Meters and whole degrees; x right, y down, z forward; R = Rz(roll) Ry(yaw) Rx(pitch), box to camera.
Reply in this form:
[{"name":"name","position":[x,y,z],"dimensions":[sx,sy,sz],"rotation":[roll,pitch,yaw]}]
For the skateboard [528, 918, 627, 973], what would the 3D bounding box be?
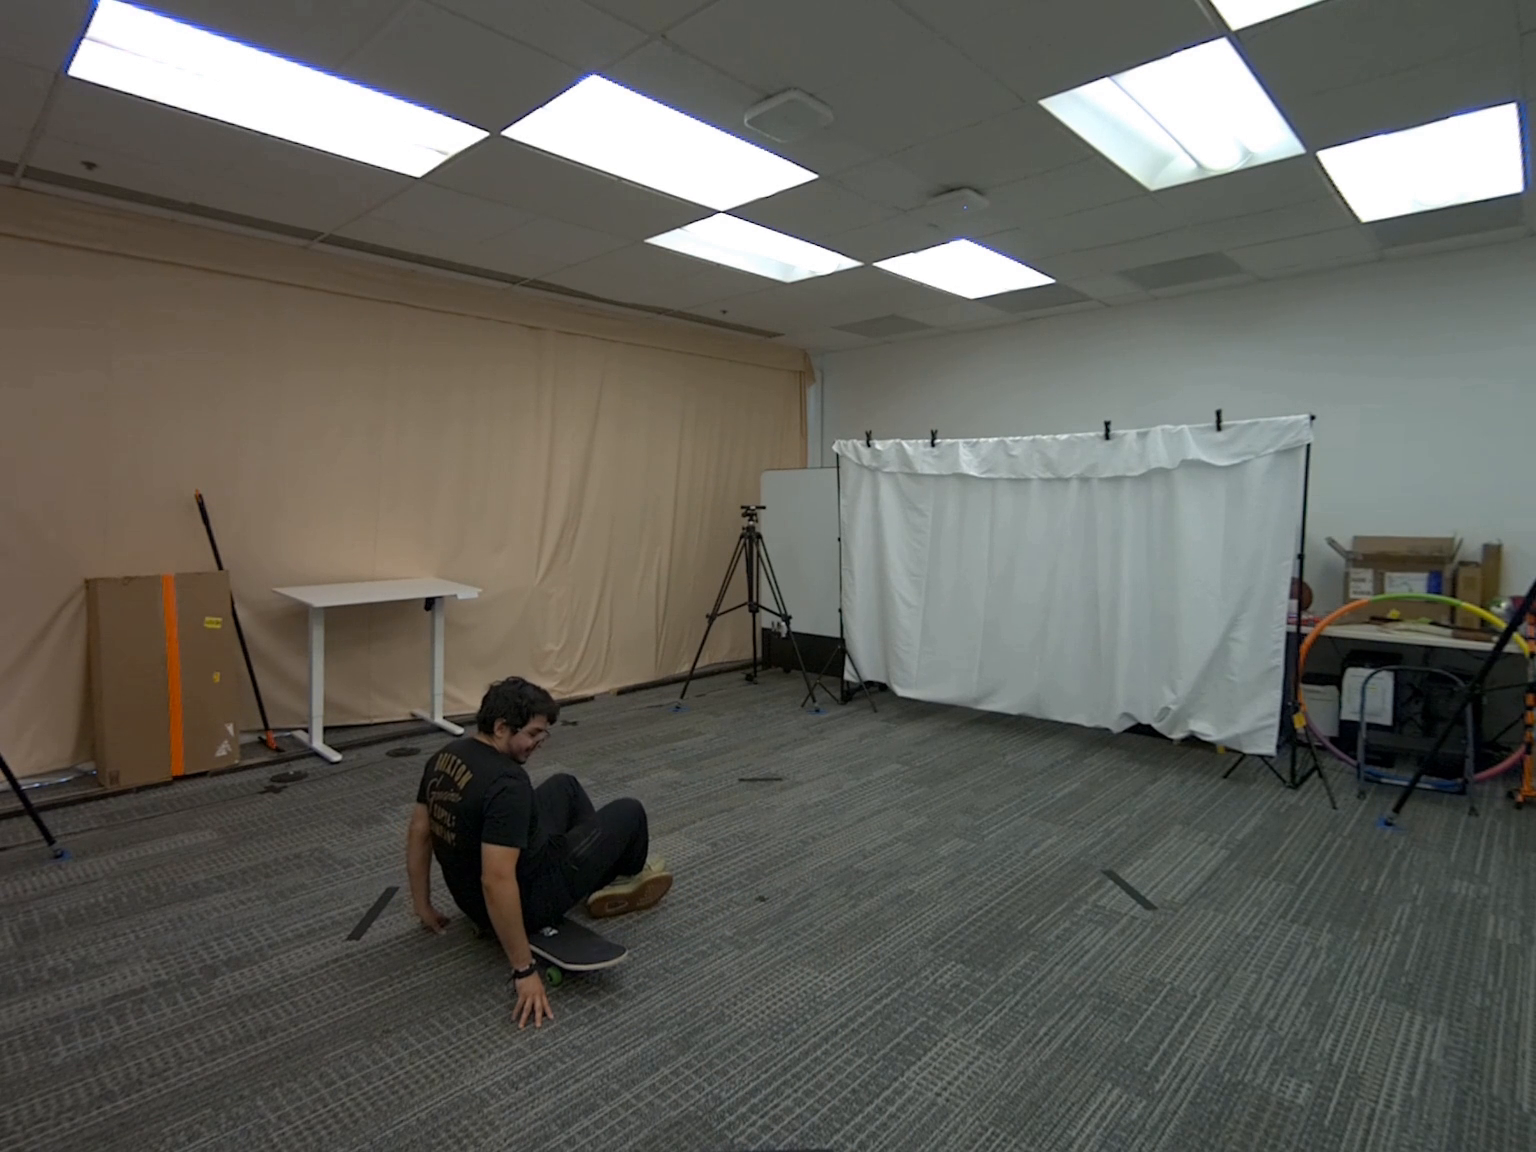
[{"name":"skateboard","position":[-0.730,1.120,2.654],"dimensions":[0.812,0.110,0.187],"rotation":[4,3,44]}]
